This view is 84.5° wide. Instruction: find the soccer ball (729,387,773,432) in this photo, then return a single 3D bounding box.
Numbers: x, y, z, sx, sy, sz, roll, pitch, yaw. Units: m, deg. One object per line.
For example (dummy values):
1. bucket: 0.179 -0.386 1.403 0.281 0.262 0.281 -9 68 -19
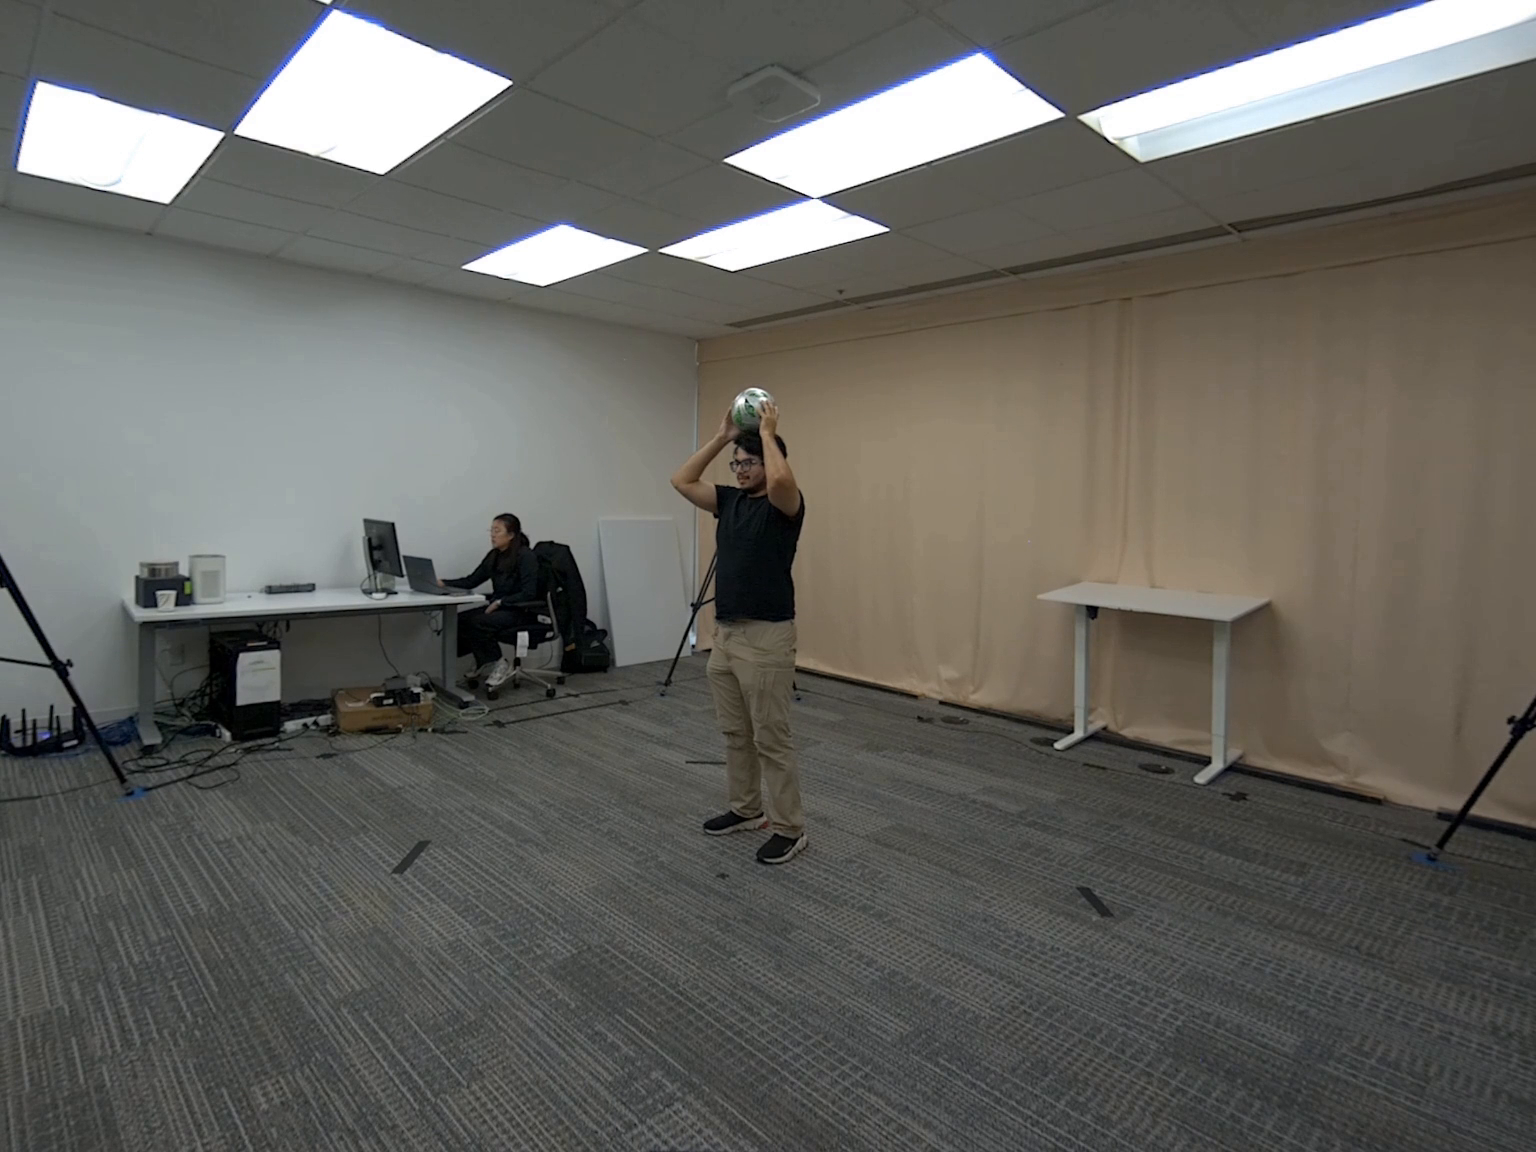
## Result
1. soccer ball: -0.062 -0.655 3.370 0.187 0.187 0.188 1 4 -1
